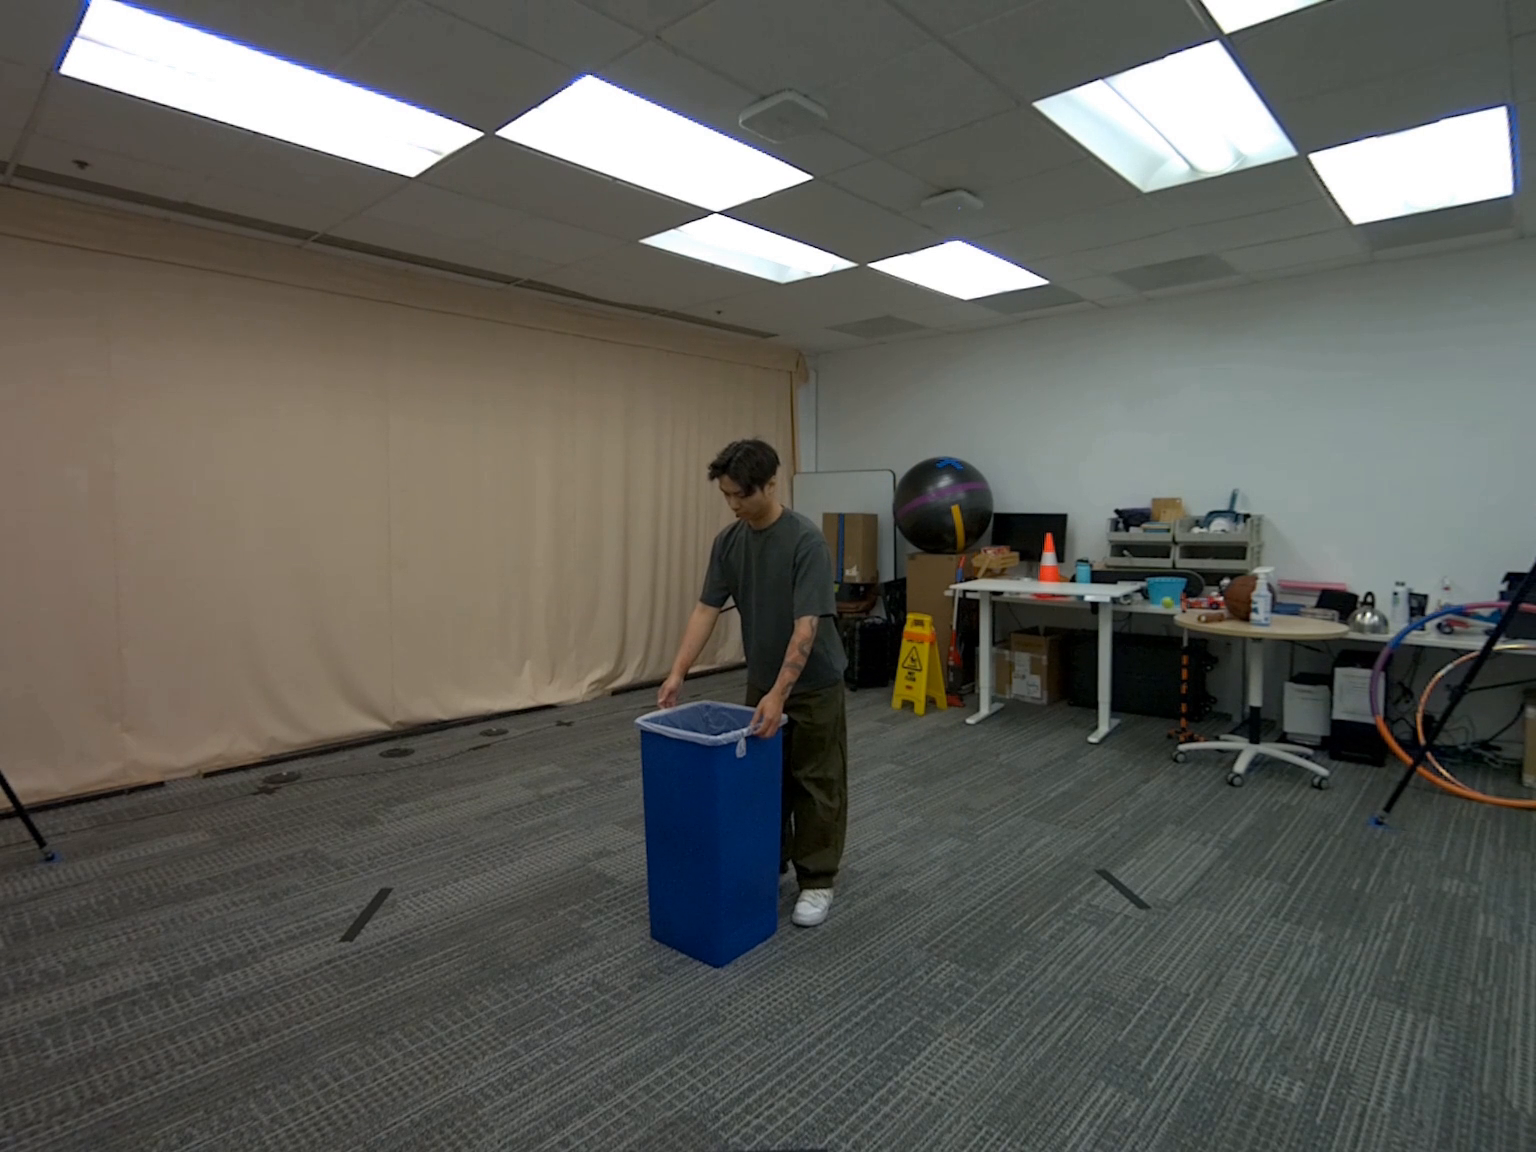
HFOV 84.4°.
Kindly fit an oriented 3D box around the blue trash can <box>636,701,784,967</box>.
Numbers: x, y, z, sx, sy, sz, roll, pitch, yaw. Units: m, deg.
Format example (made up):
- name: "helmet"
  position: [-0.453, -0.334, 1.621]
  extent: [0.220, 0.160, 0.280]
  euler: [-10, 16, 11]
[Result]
- name: "blue trash can"
  position: [-0.180, 0.811, 2.711]
  extent: [0.390, 0.713, 0.363]
  euler: [1, 2, 38]
